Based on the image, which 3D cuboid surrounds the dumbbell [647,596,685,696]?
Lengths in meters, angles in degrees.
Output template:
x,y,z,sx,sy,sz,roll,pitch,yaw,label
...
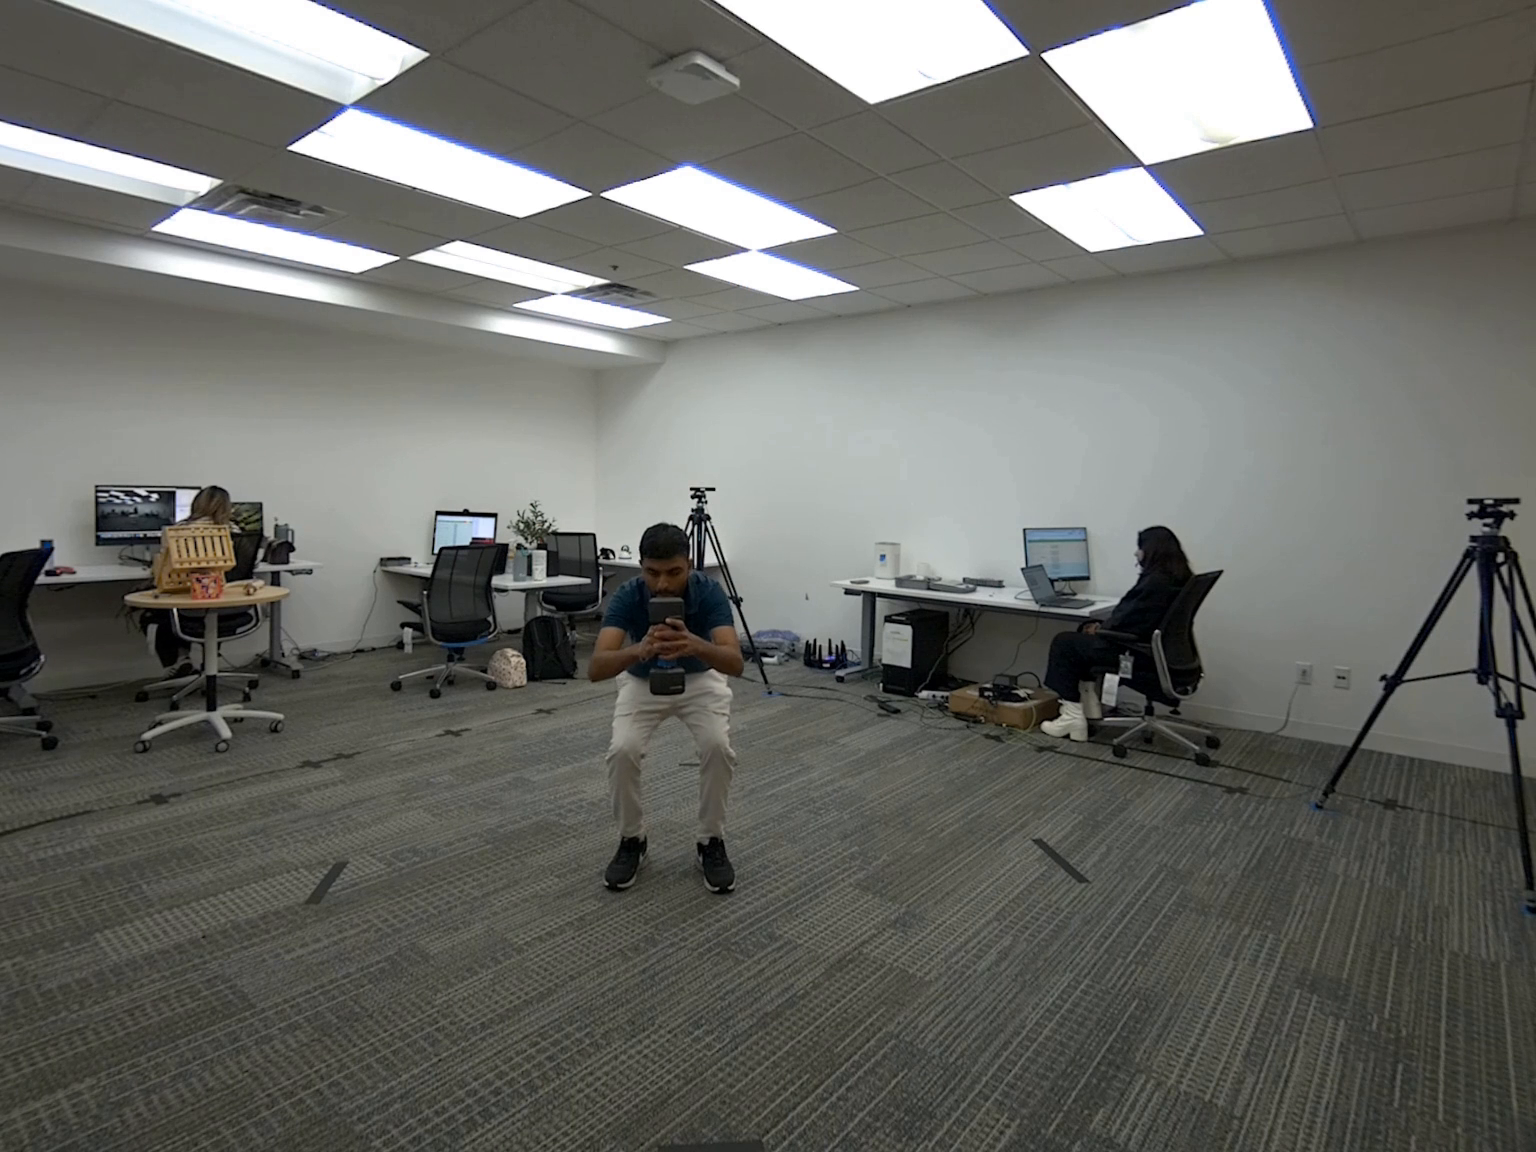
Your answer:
x,y,z,sx,sy,sz,roll,pitch,yaw,label
-0.323,0.209,2.605,0.126,0.295,0.106,-5,-5,25,dumbbell
